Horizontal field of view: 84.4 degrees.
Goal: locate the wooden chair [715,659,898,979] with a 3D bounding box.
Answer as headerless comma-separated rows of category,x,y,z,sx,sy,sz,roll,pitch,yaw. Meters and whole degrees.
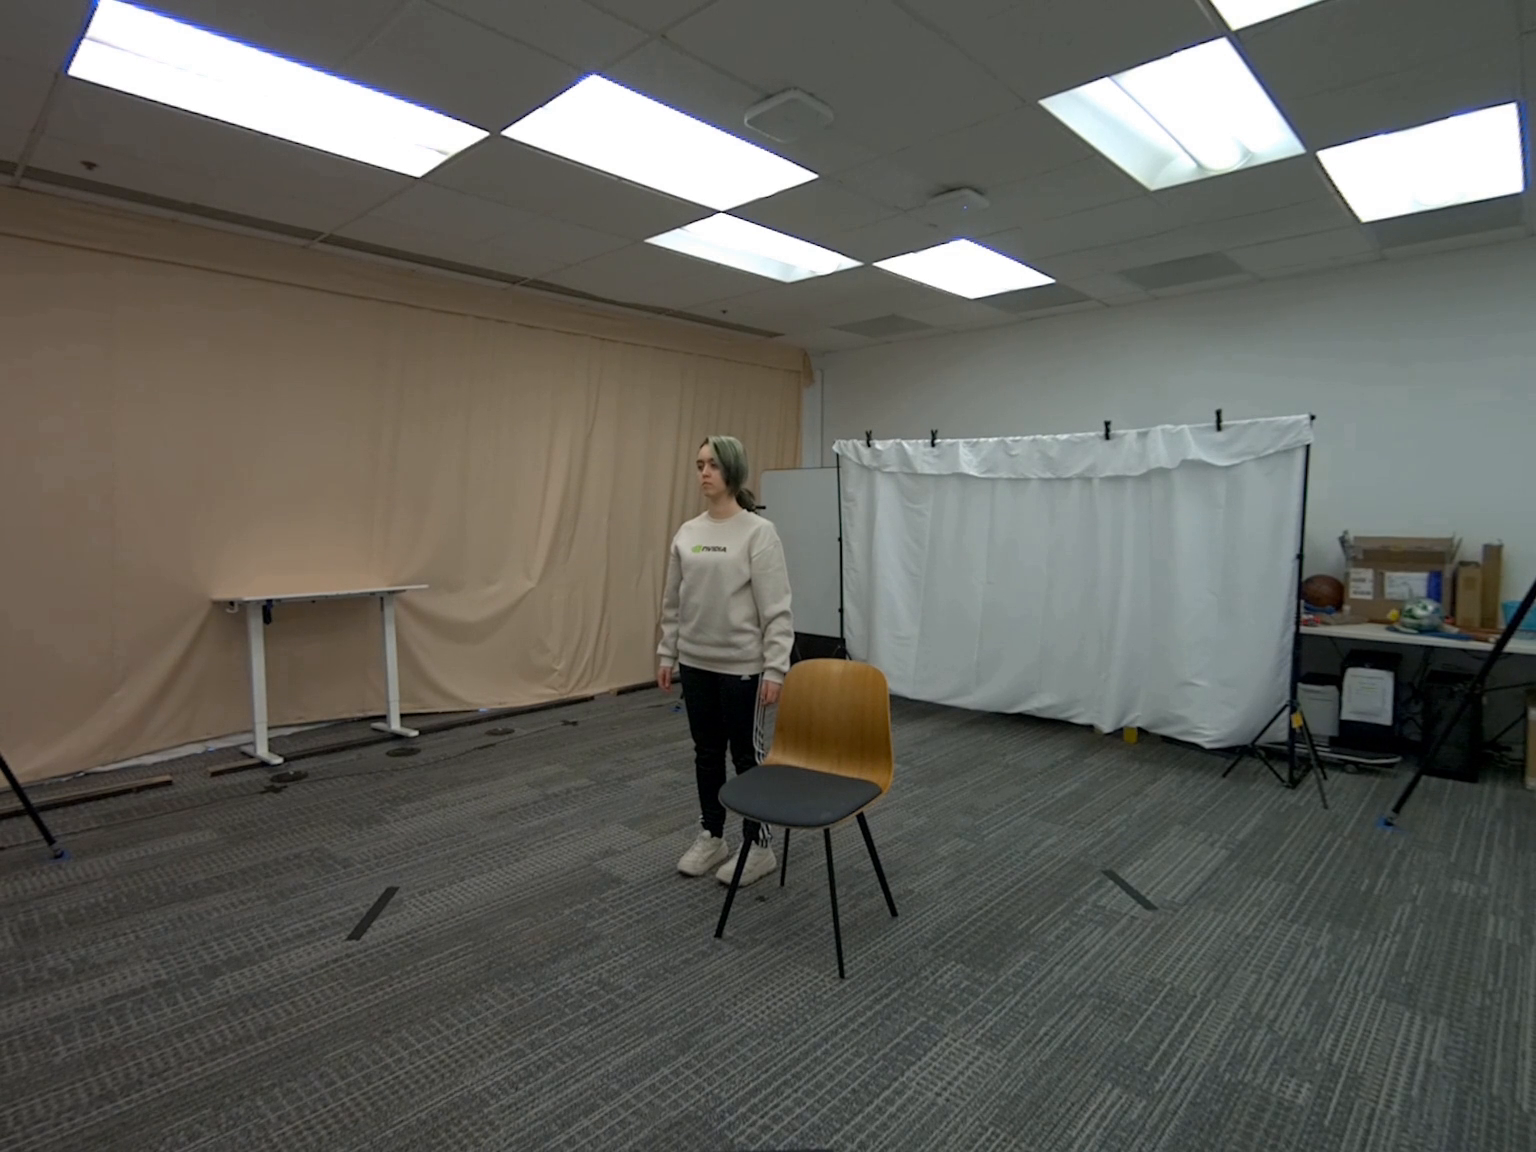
wooden chair,0.137,0.736,2.744,0.492,0.877,0.508,2,0,31
